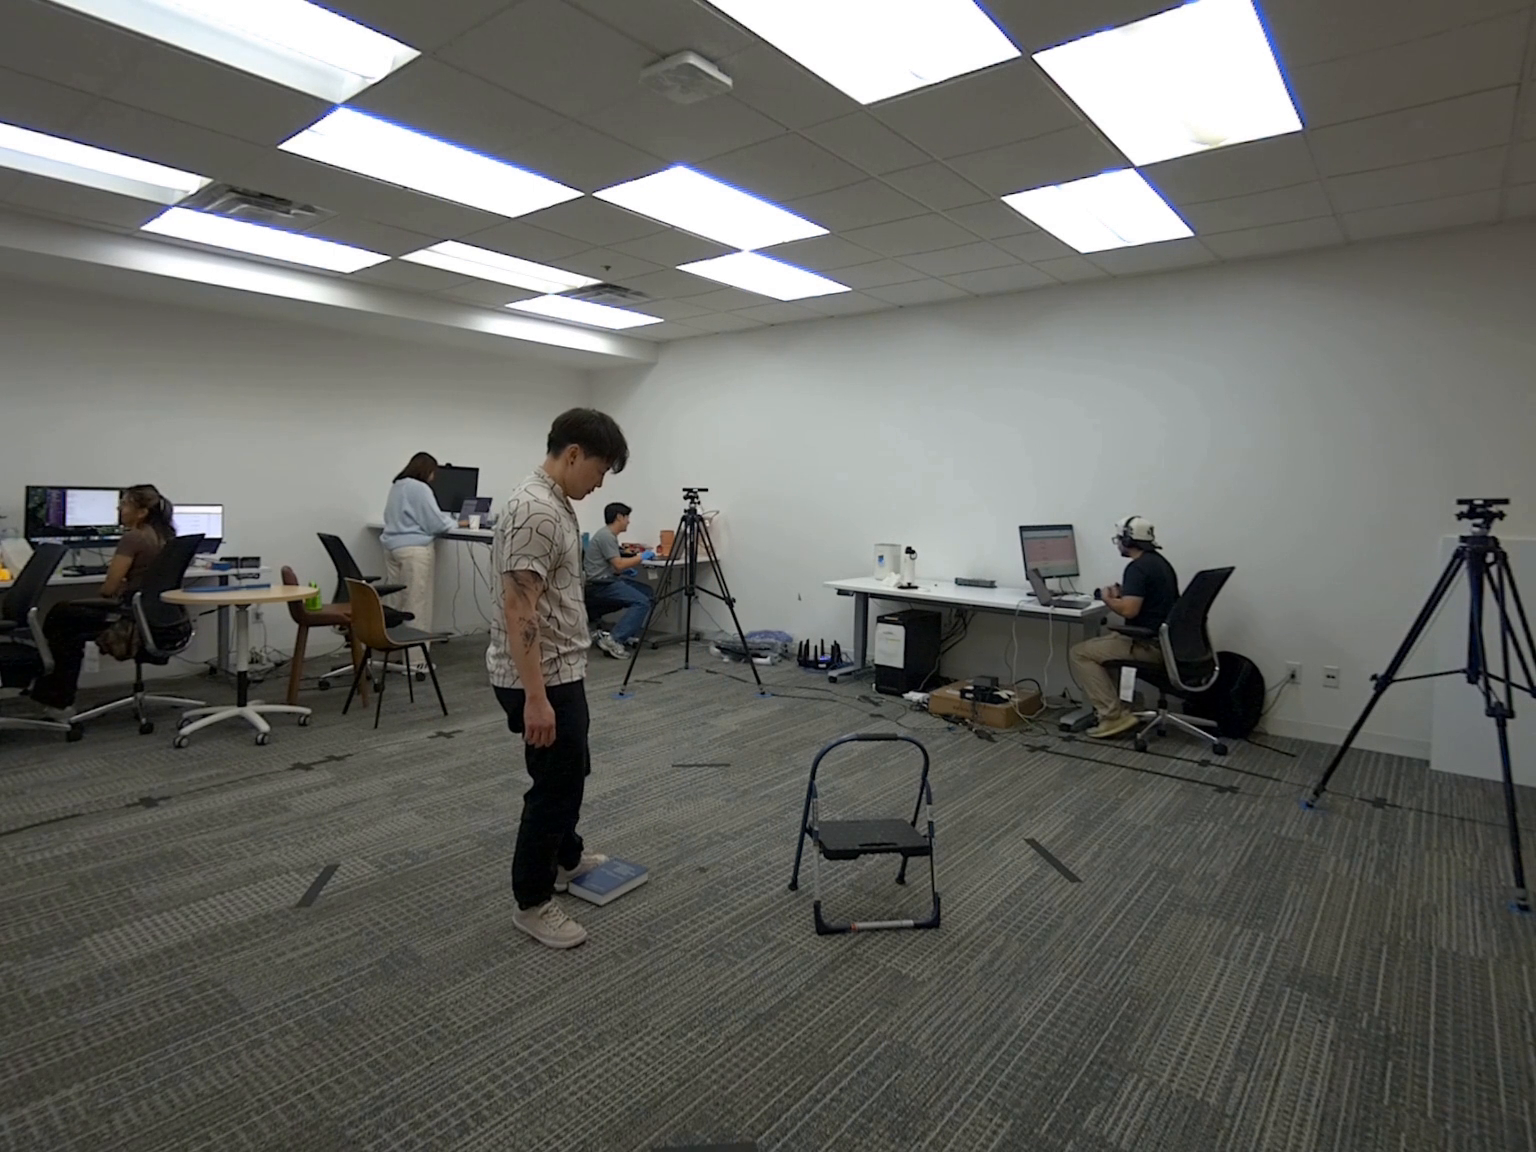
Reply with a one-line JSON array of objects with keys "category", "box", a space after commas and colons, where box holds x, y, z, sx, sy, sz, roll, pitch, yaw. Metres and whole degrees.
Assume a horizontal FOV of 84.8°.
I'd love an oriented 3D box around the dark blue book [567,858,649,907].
[{"category": "dark blue book", "box": [-0.561, 1.058, 2.946, 0.169, 0.045, 0.238, 5, 6, 34]}]
